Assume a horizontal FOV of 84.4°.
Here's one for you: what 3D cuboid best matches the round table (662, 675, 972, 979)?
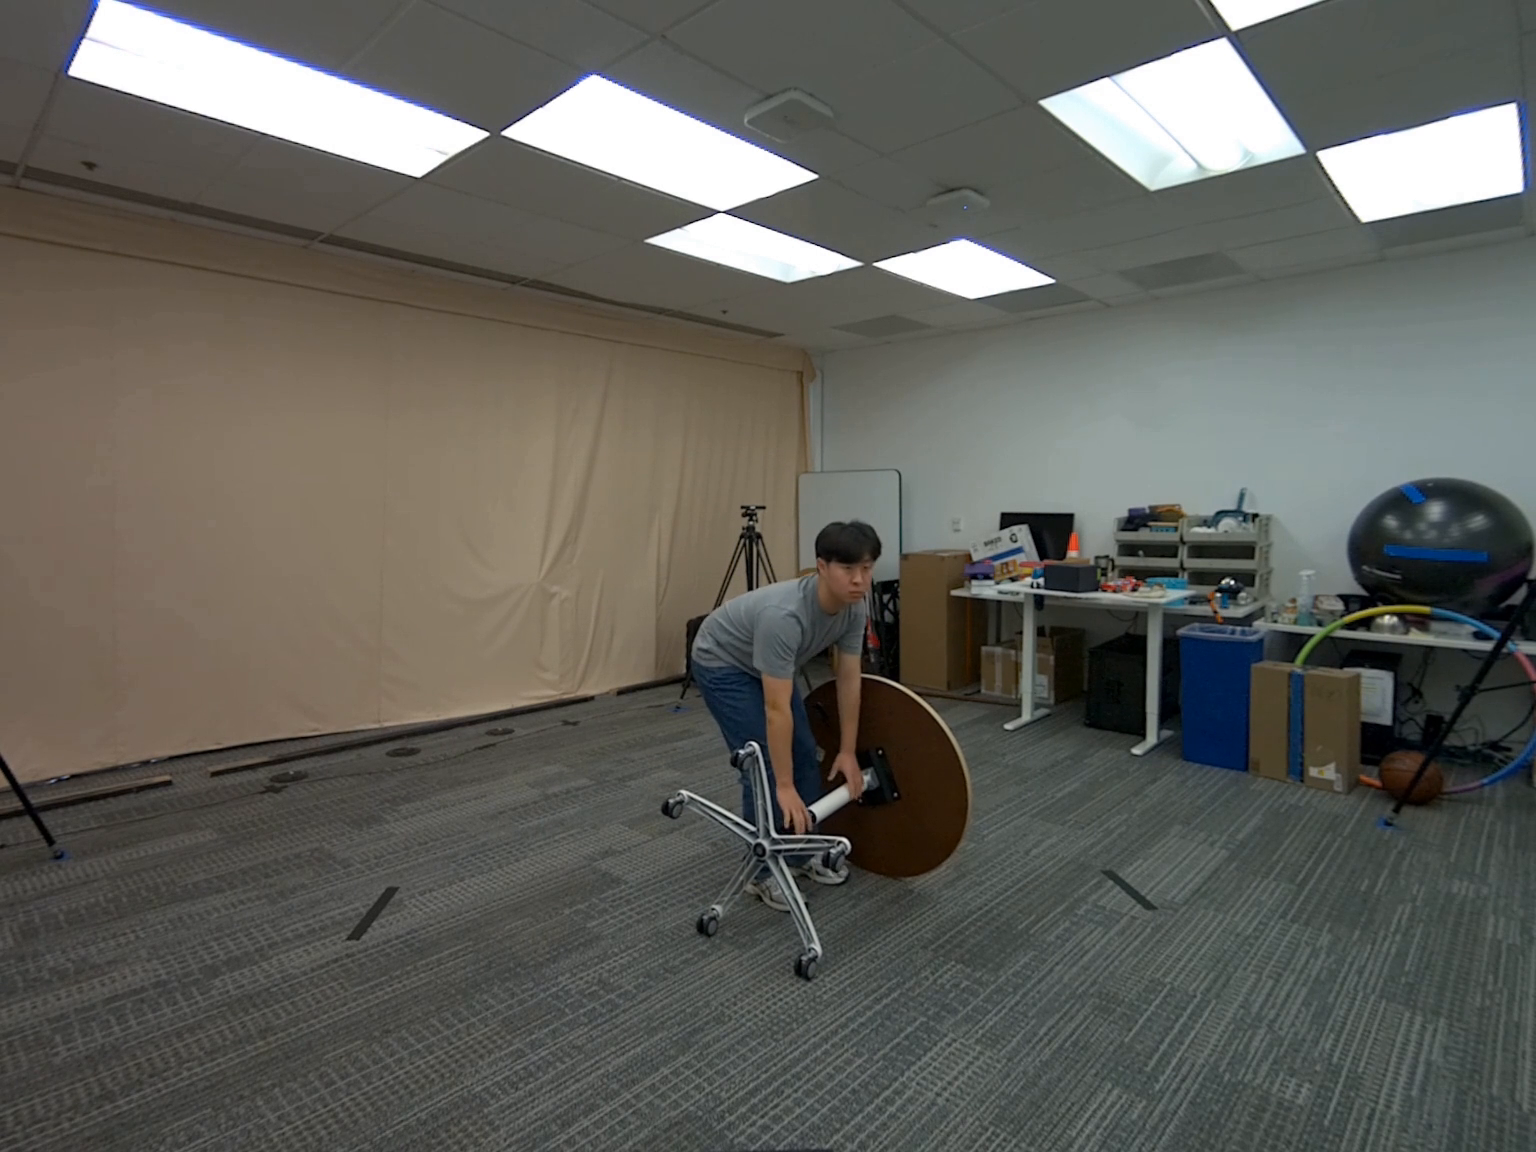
[{"bbox_3d":[0.173,0.813,2.852,0.789,0.759,0.773,3,11,38],"label":"round table"}]
